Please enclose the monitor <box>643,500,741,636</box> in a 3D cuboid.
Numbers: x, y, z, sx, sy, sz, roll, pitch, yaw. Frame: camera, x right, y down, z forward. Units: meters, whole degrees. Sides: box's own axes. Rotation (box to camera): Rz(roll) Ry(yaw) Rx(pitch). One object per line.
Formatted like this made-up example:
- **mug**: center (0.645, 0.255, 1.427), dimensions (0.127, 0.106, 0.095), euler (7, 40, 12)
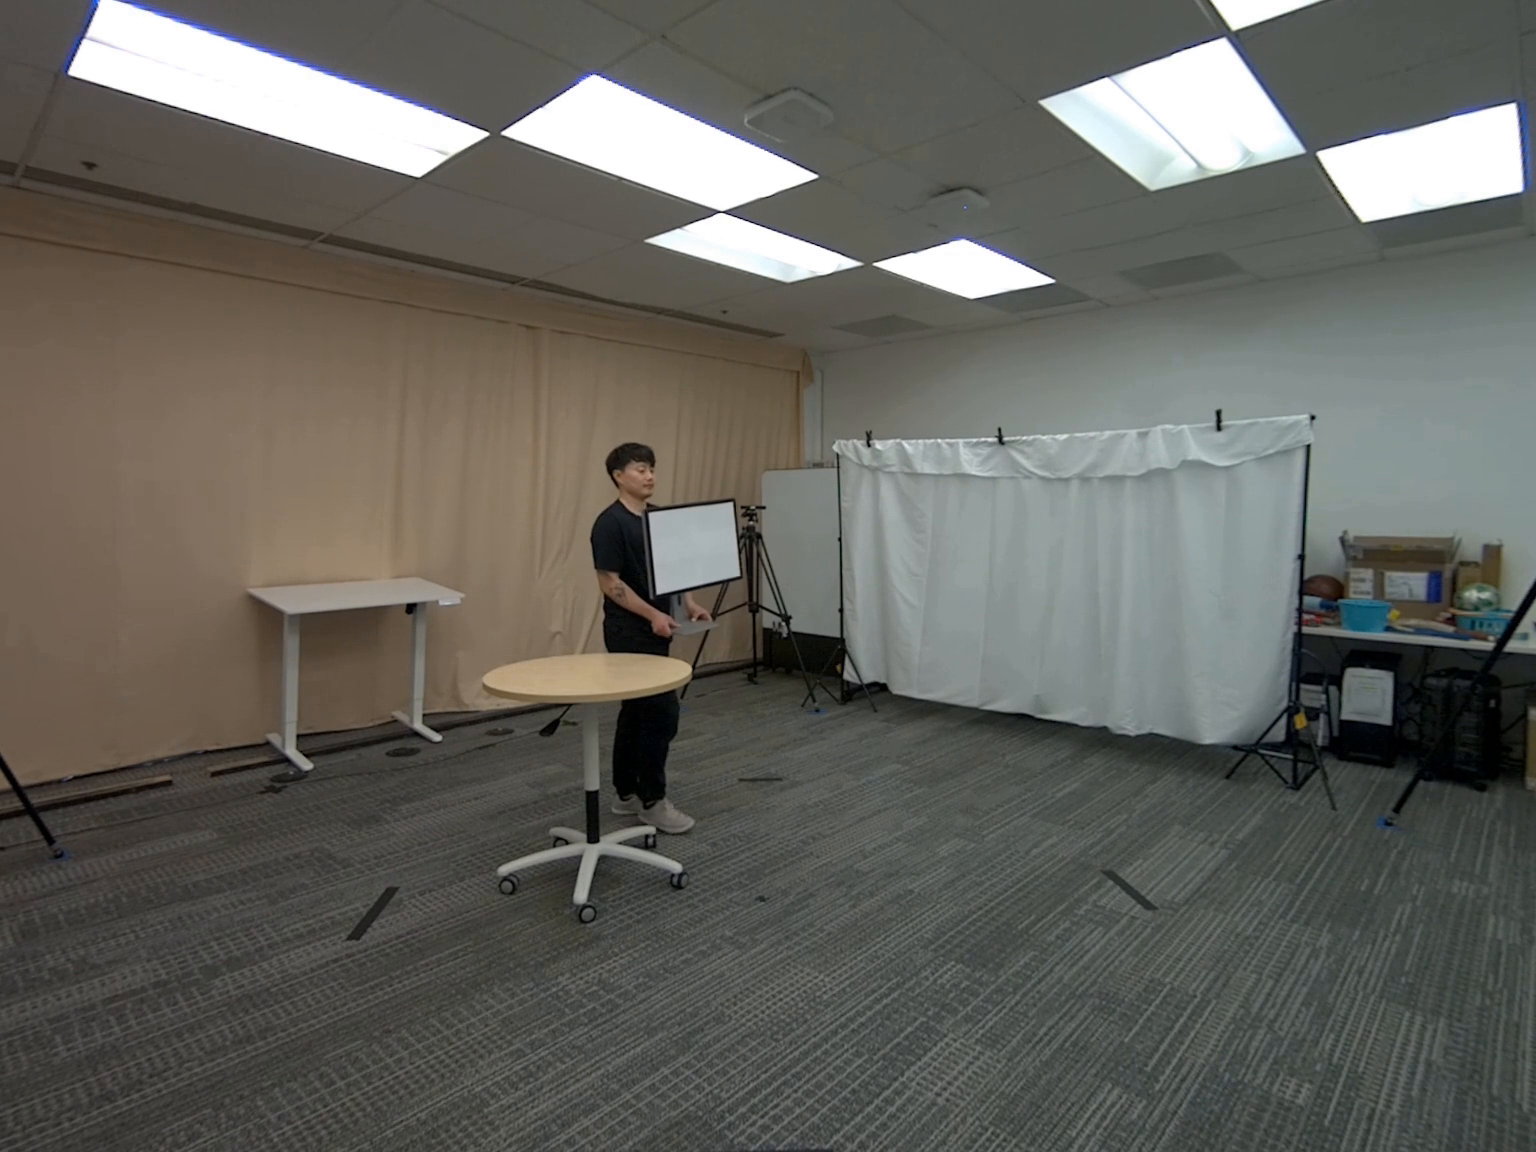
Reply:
- **monitor**: center (-0.335, -0.045, 3.567), dimensions (0.193, 0.519, 0.524), euler (14, 16, 36)
